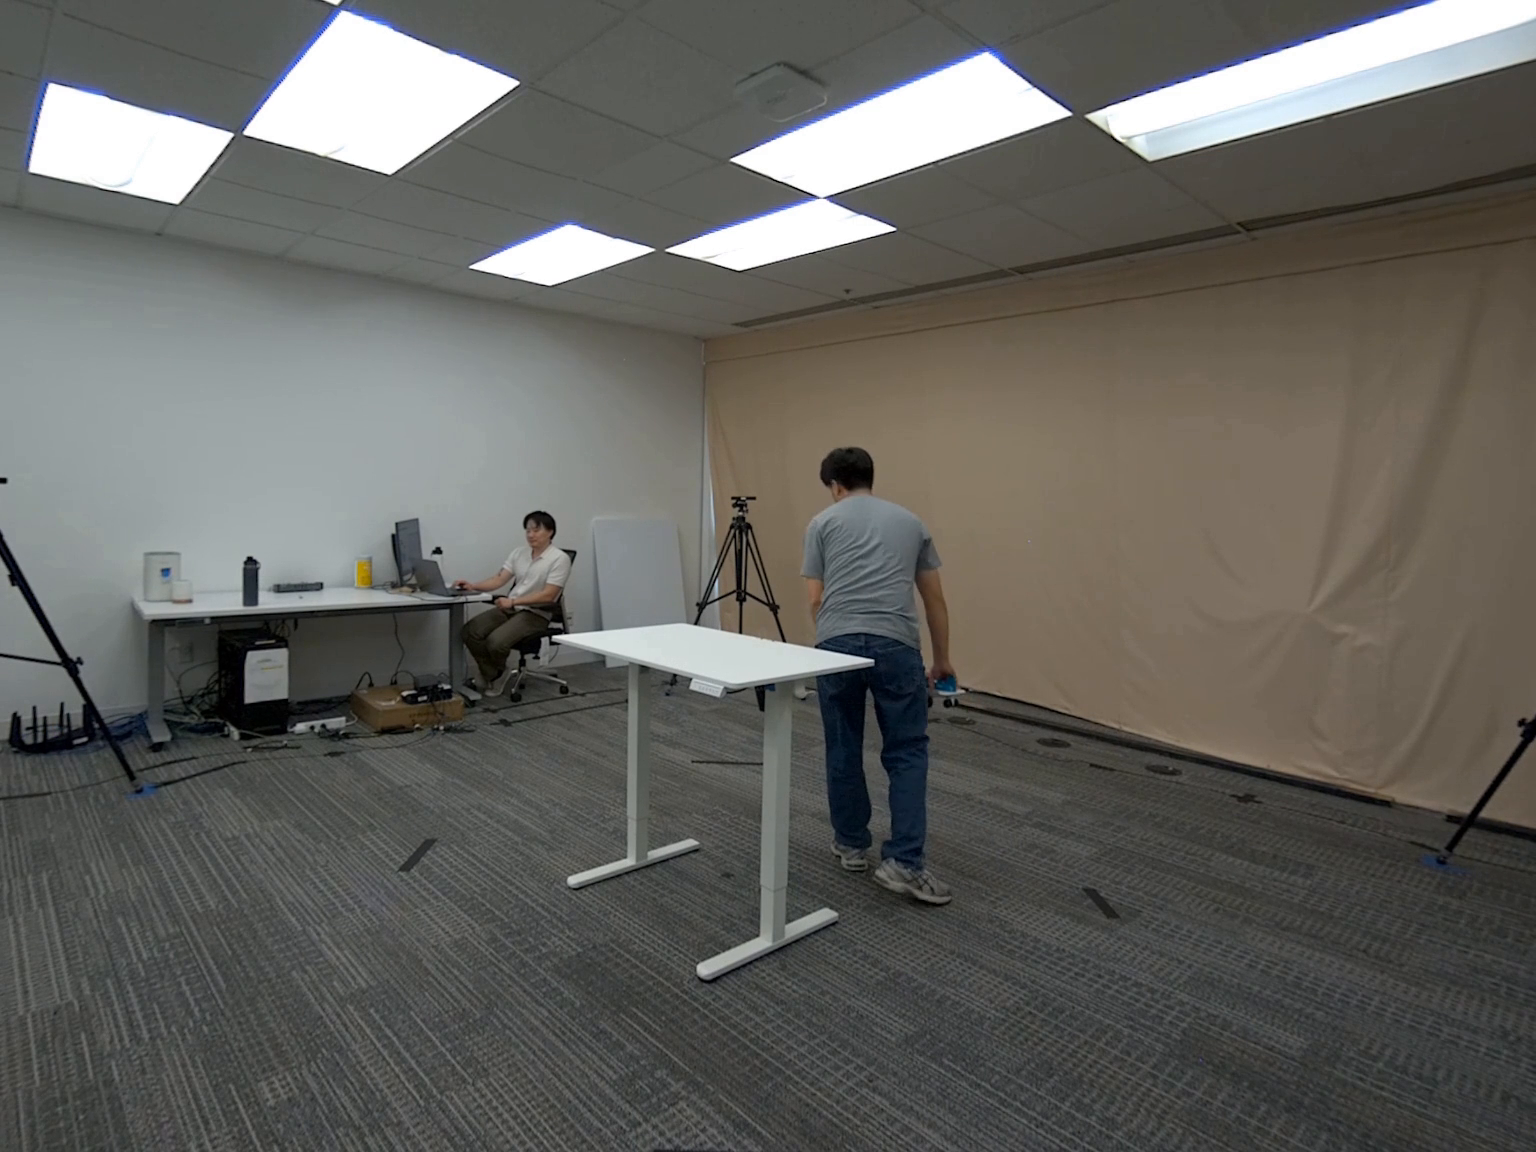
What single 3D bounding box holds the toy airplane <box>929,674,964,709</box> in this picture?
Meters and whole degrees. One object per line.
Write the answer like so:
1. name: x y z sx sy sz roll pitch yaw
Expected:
1. toy airplane: 0.665 0.469 3.392 0.263 0.157 0.245 -11 -8 28
